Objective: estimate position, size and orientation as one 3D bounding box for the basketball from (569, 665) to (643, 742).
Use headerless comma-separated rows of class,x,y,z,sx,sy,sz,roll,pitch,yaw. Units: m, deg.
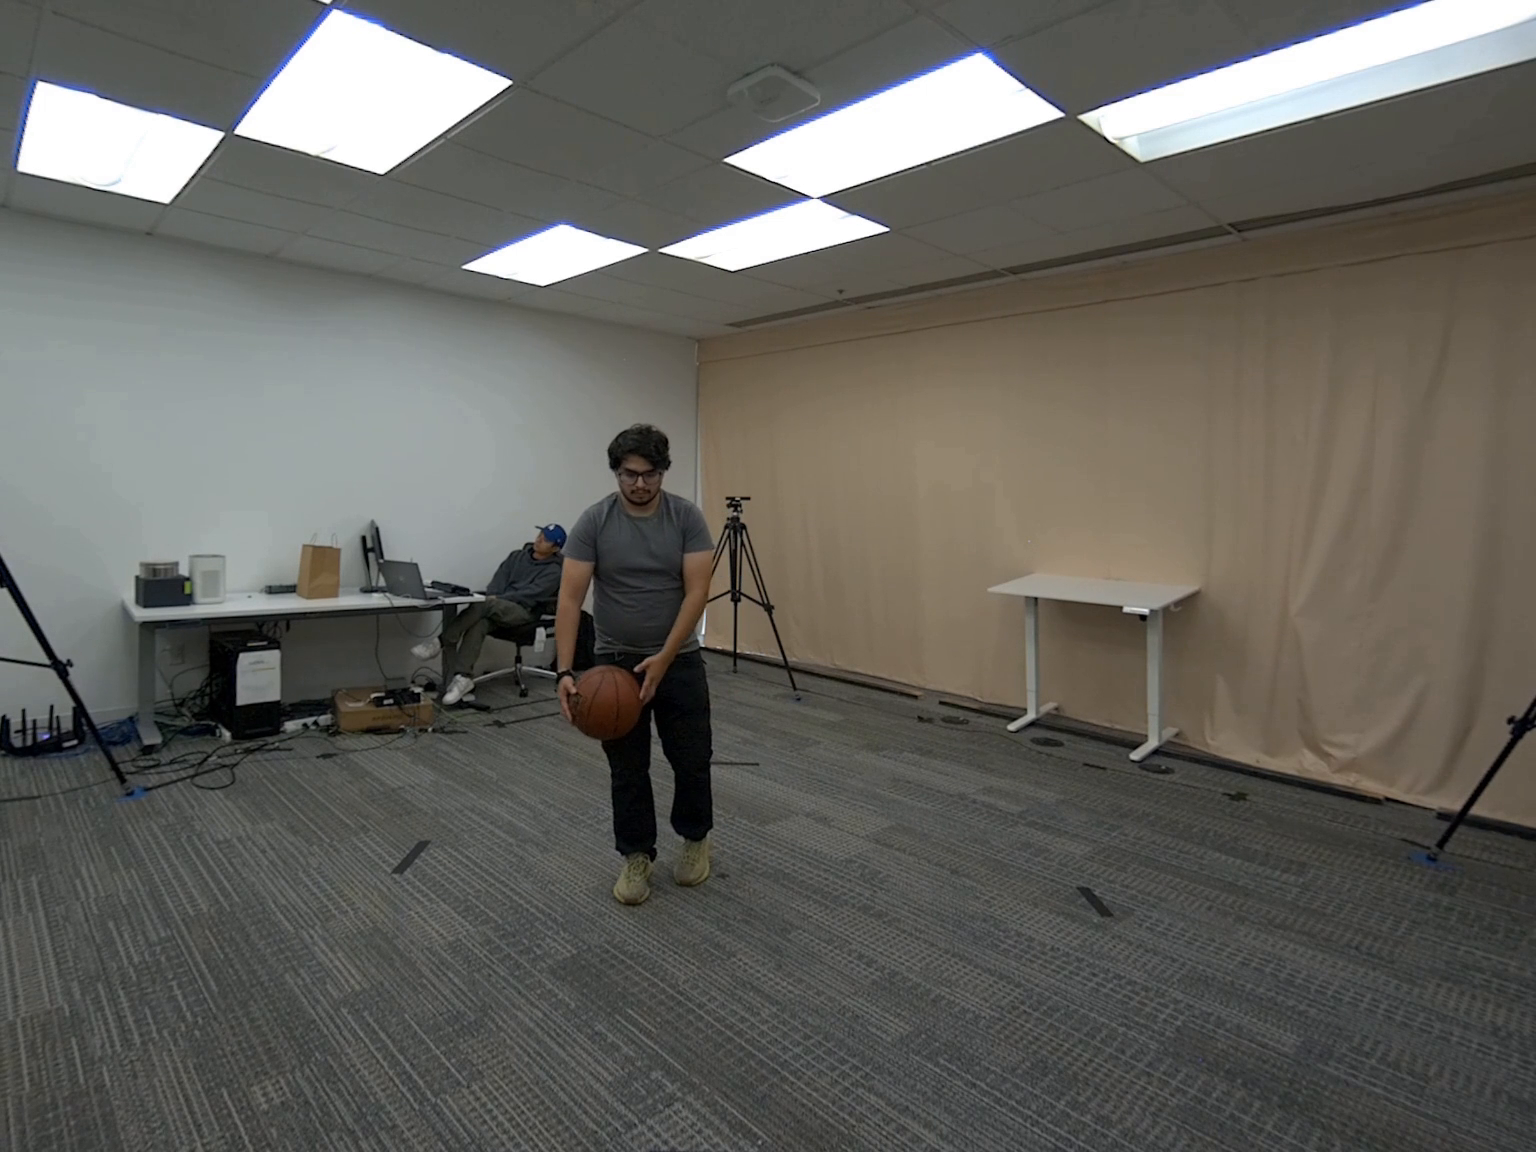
basketball,-0.535,0.404,2.713,0.236,0.235,0.237,1,4,-1
